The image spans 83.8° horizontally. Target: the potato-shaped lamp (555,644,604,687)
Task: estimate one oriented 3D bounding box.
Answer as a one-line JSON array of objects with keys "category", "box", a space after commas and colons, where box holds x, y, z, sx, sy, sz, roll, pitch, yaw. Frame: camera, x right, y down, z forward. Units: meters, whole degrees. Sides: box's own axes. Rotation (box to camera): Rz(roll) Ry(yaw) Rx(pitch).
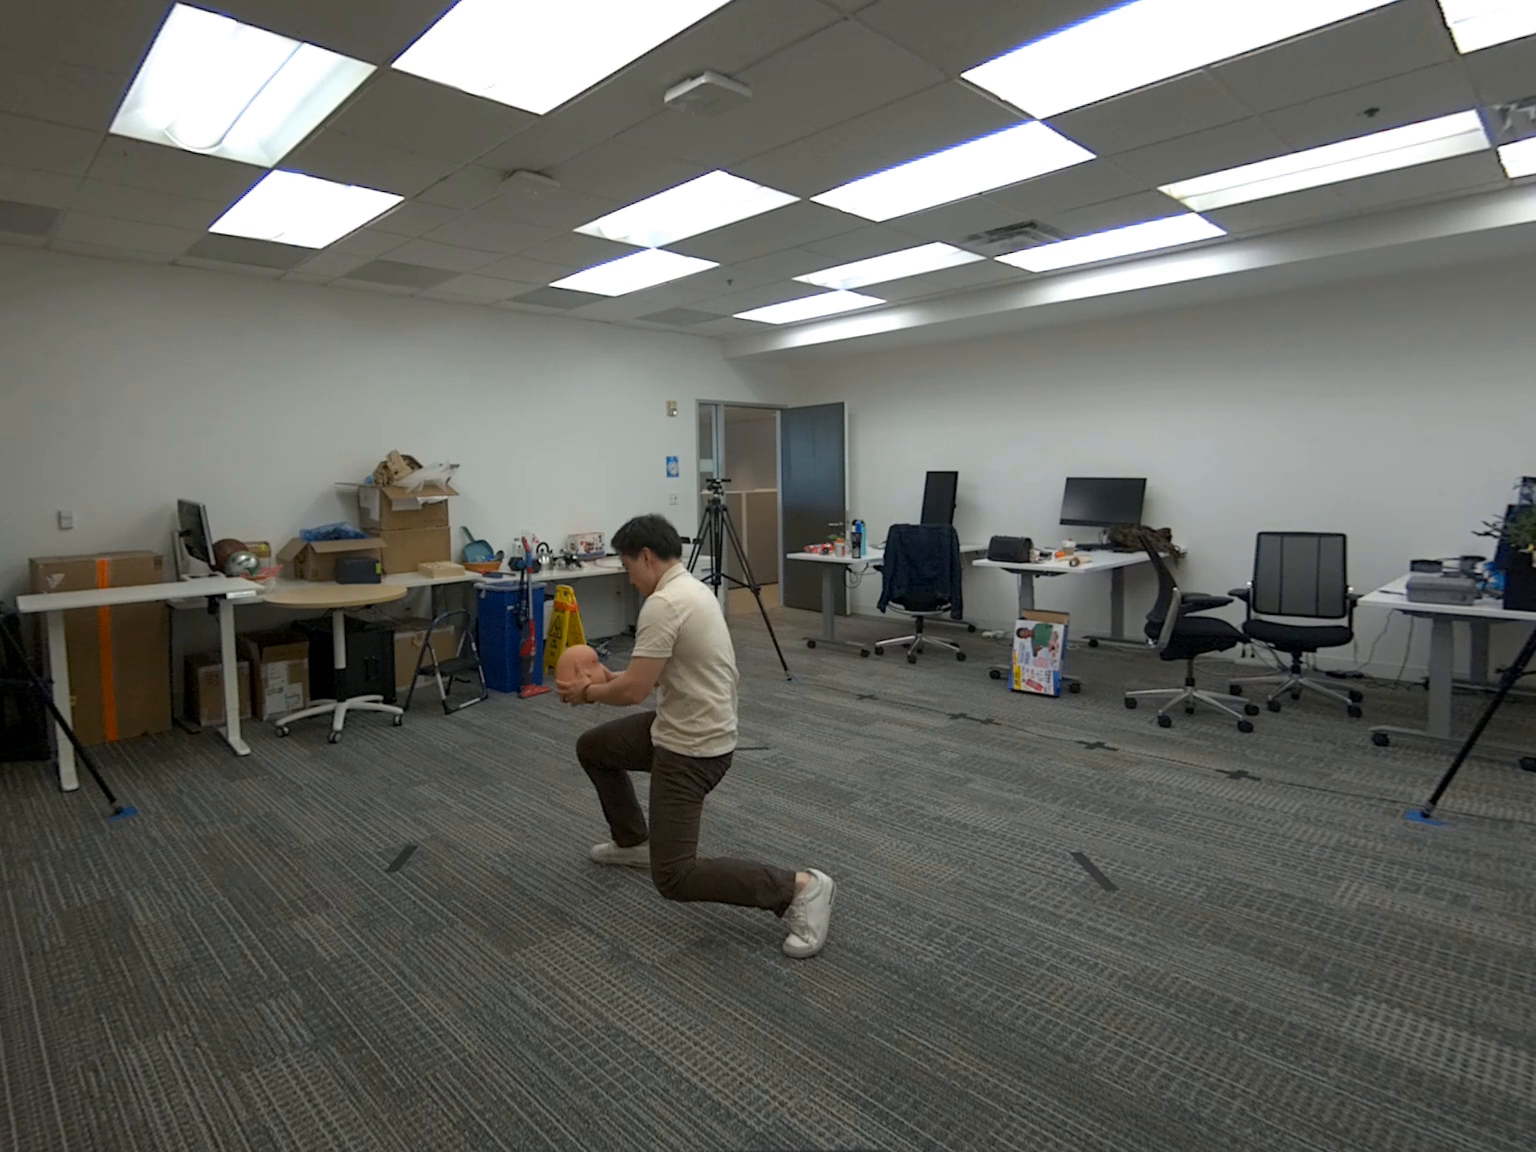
[{"category": "potato-shaped lamp", "box": [-0.630, 0.328, 2.951, 0.173, 0.197, 0.164, 1, 5, 7]}]
